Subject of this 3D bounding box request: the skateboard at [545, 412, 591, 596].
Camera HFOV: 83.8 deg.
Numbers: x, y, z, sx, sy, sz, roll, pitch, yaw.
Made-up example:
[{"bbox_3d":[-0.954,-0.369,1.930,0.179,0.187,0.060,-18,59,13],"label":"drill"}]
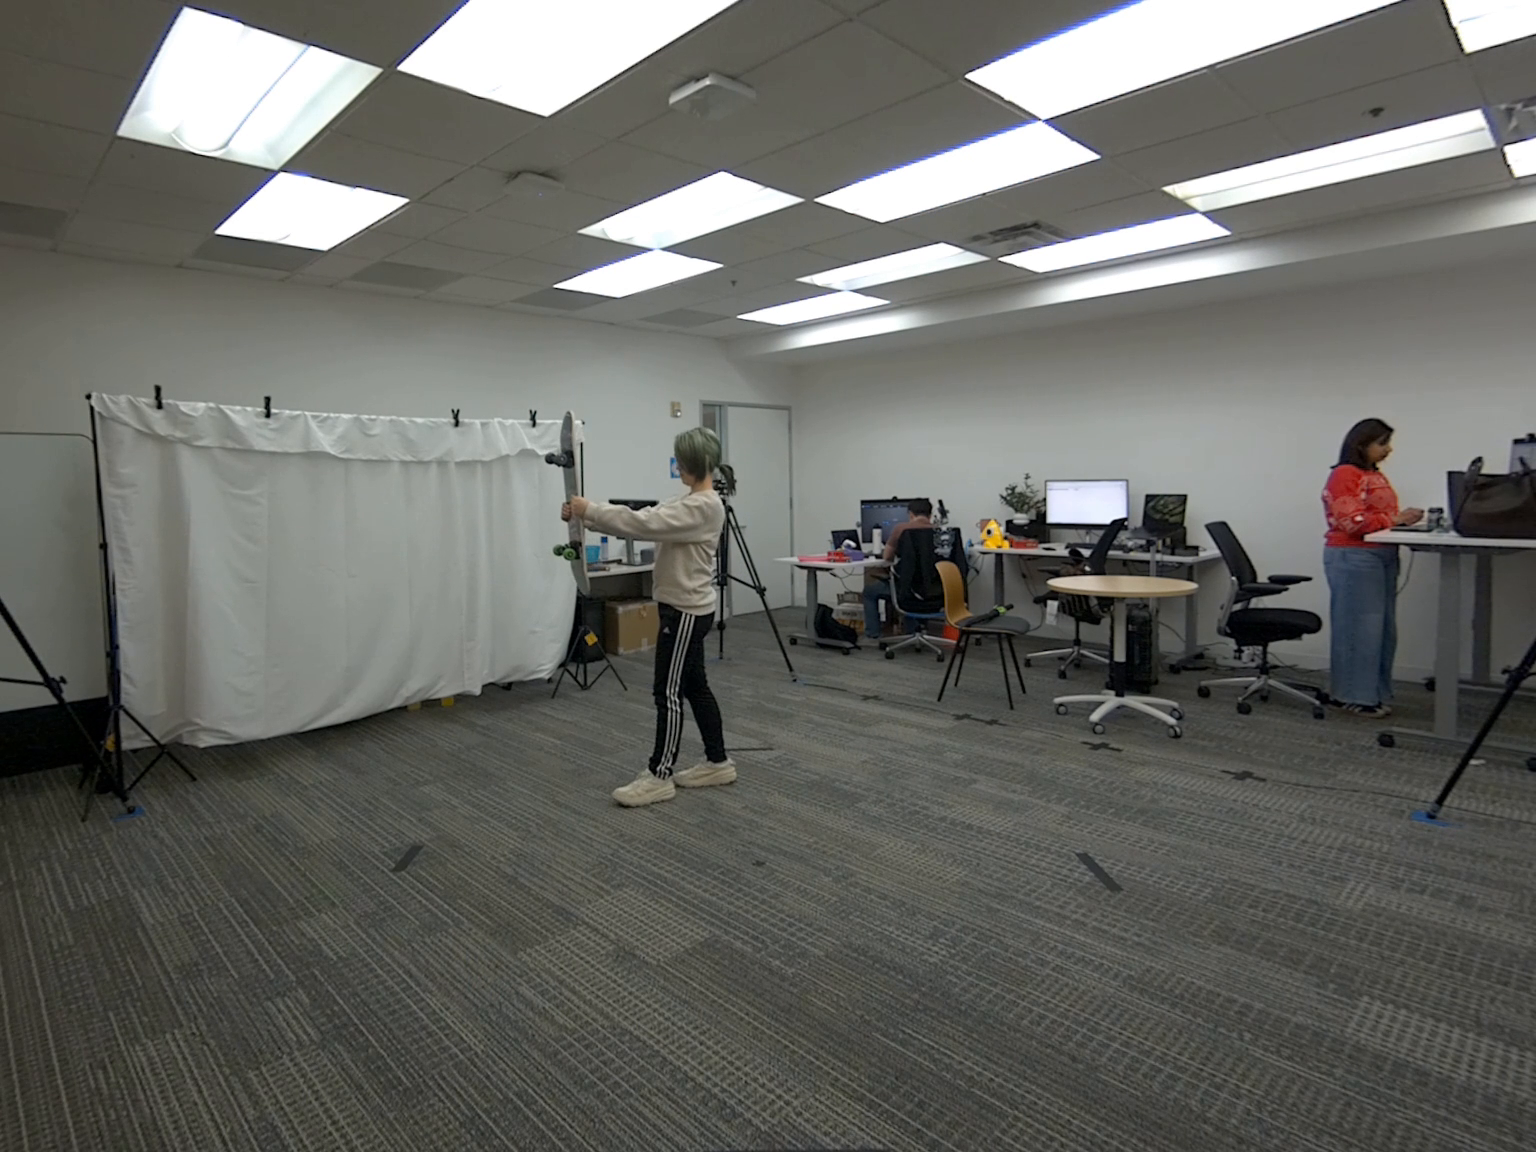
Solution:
[{"bbox_3d":[-0.855,-0.301,3.630,0.108,0.780,0.199,-7,8,-28],"label":"skateboard"}]
